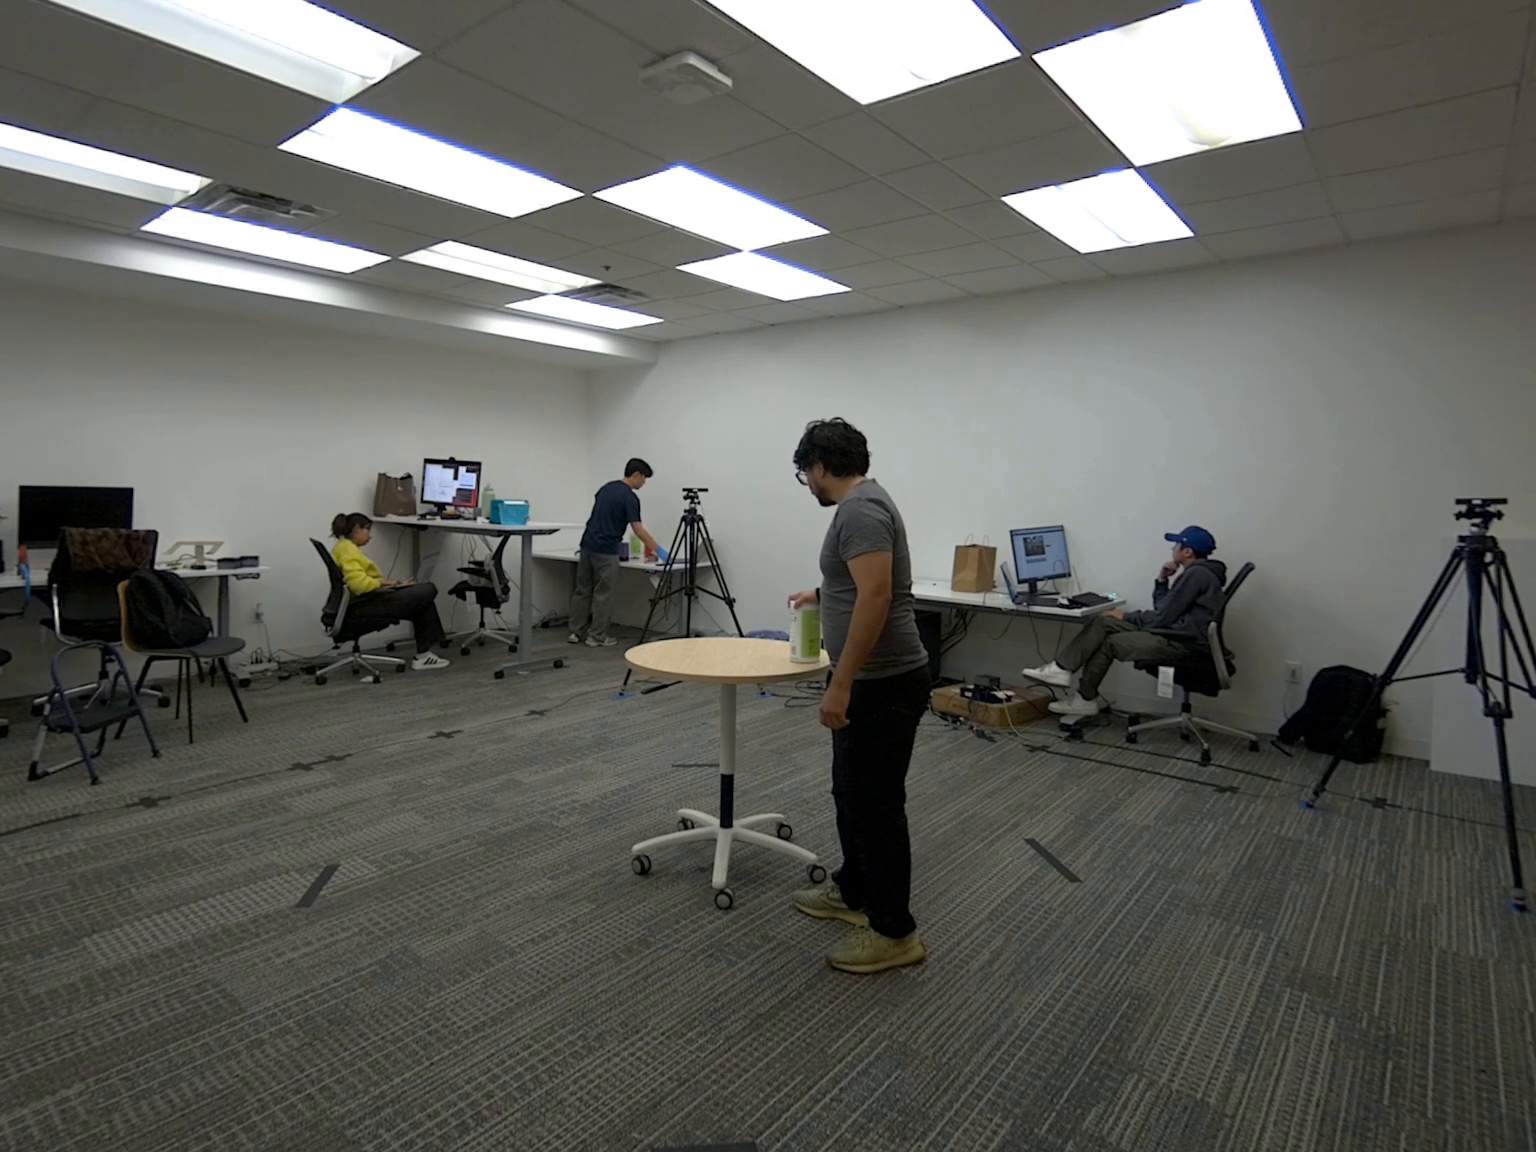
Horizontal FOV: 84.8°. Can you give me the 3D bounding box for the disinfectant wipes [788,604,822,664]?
[{"bbox_3d":[0.123,0.193,3.025,0.117,0.217,0.118,2,3,-2],"label":"disinfectant wipes"}]
